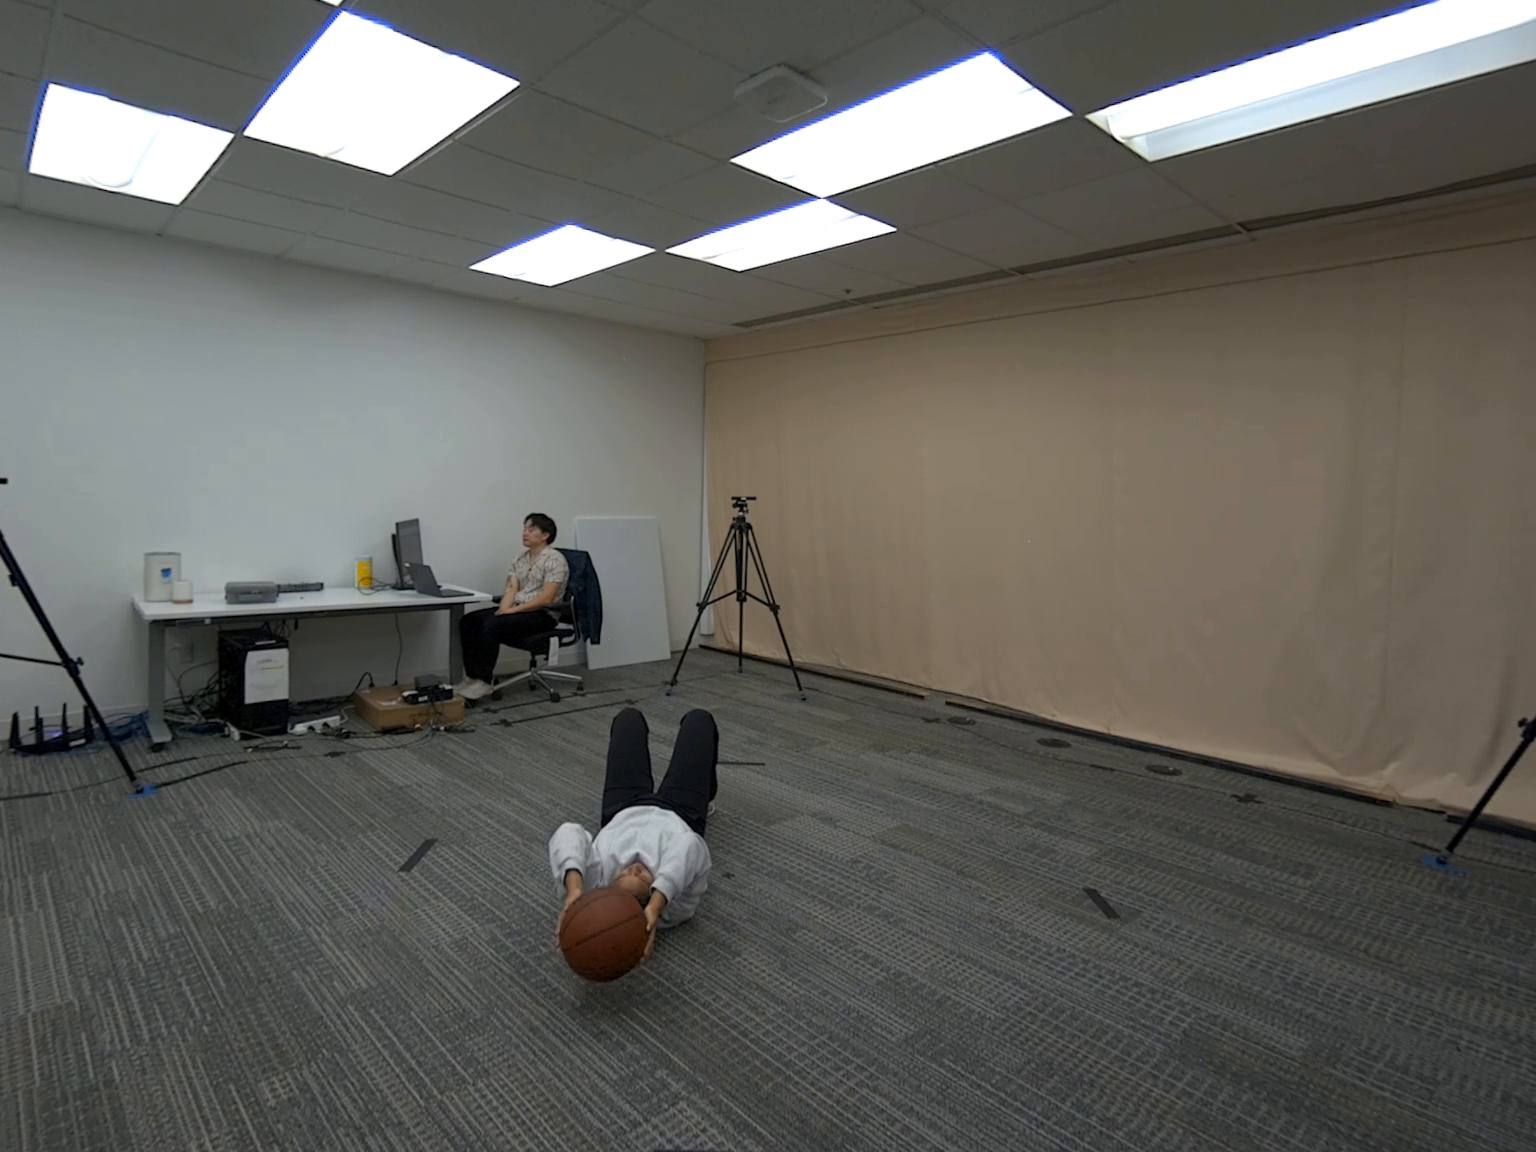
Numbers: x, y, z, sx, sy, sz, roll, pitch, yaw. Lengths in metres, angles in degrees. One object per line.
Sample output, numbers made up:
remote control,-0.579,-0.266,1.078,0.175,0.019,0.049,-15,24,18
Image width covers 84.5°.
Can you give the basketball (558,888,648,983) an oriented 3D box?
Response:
basketball,-0.454,0.962,2.309,0.236,0.235,0.237,1,4,-1
